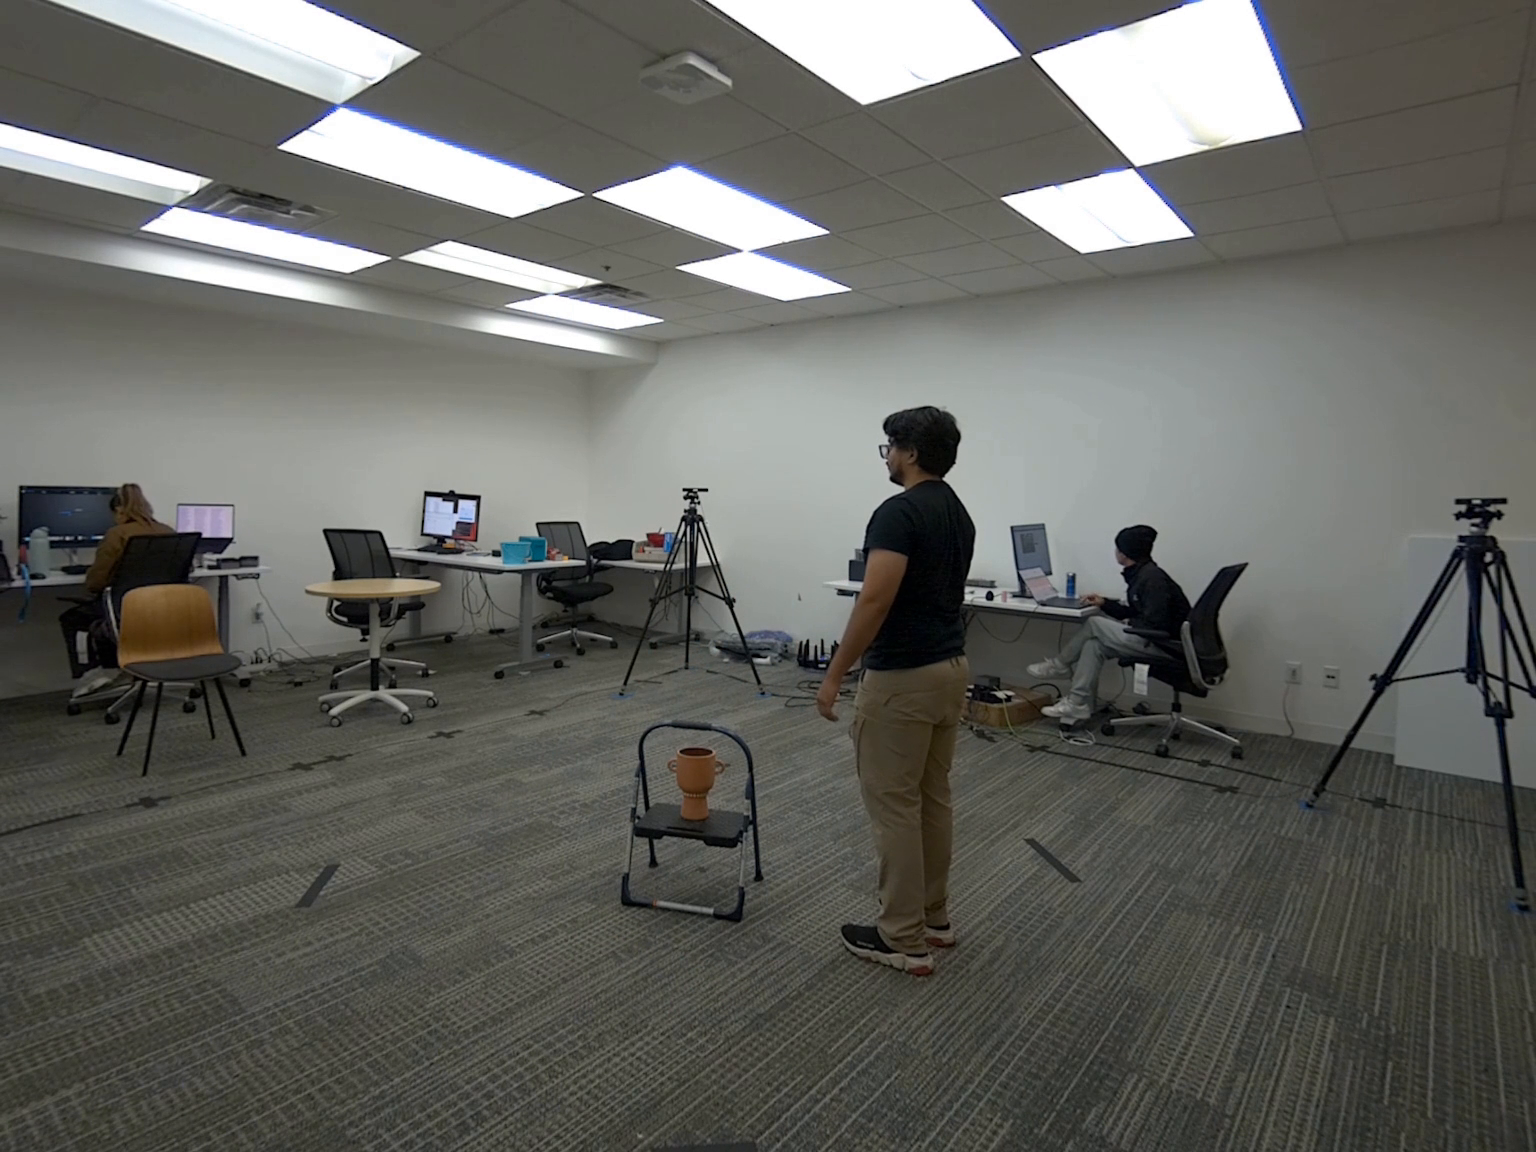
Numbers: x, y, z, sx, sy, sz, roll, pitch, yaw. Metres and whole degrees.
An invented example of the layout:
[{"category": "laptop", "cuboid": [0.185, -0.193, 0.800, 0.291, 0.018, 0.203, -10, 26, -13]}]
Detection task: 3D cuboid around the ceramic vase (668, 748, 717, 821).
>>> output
[{"category": "ceramic vase", "cuboid": [-0.255, 0.715, 2.937, 0.164, 0.219, 0.130, 3, 2, 36]}]
